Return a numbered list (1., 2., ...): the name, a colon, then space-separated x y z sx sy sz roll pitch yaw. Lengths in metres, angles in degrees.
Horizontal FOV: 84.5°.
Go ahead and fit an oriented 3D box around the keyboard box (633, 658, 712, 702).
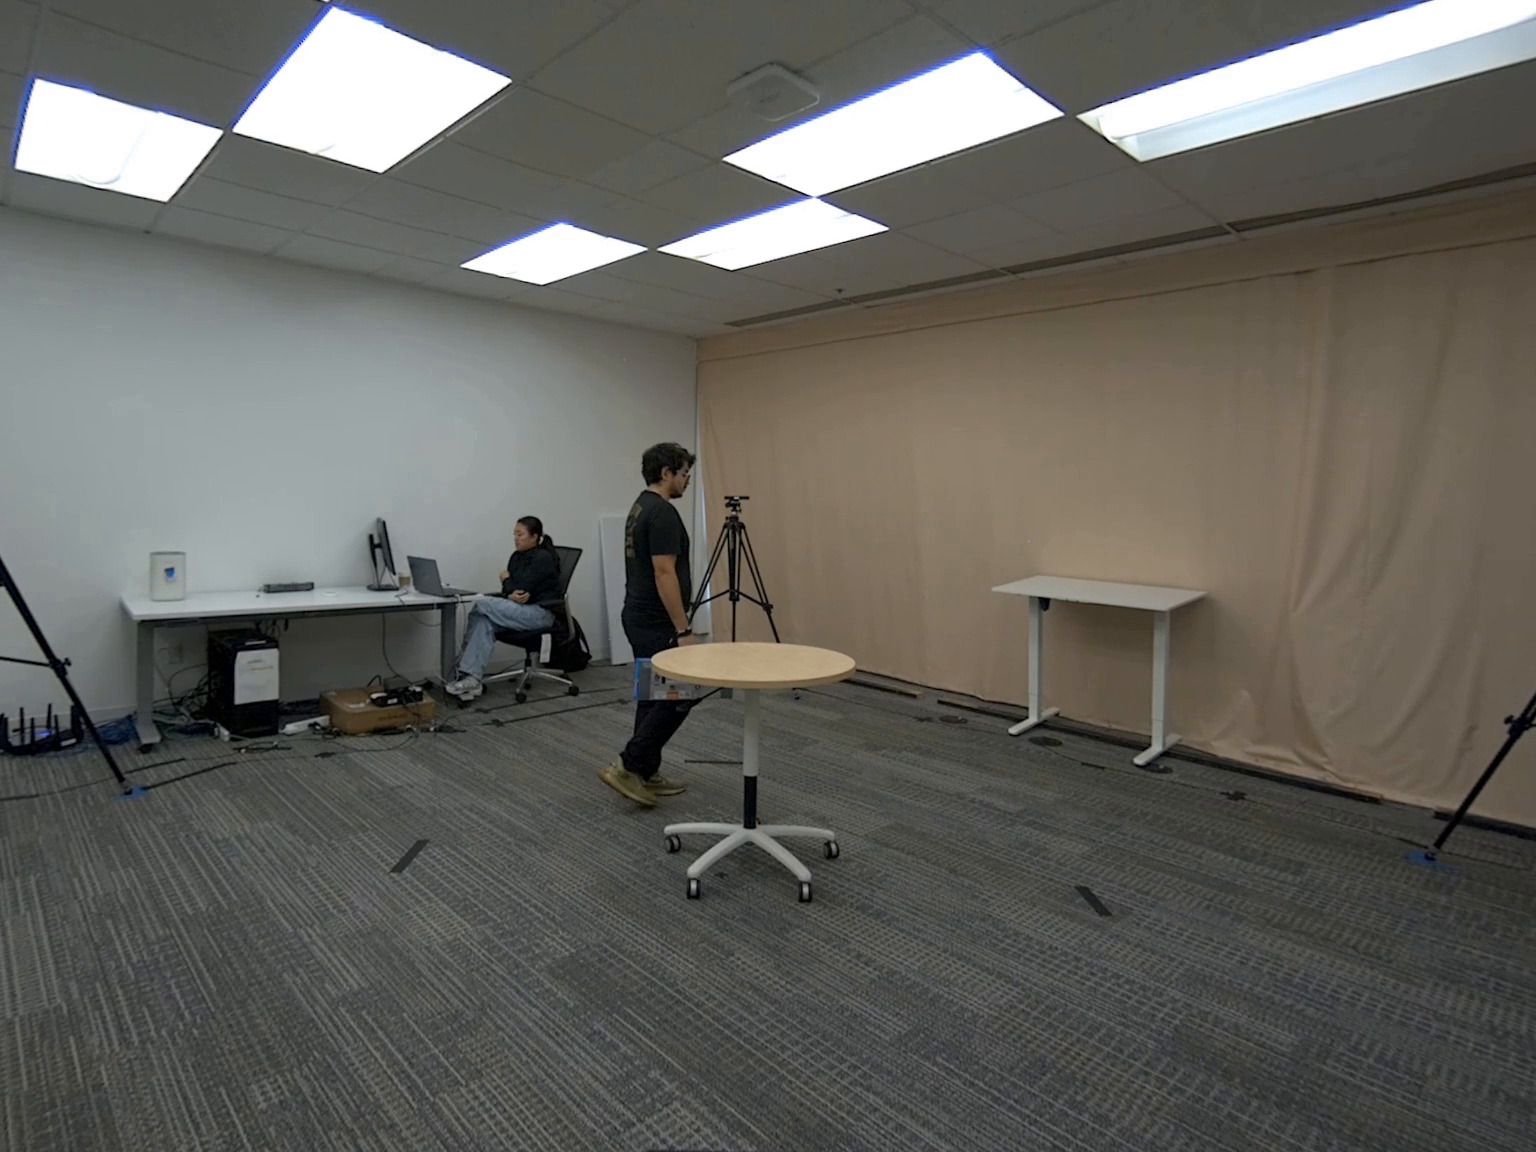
1. keyboard box: -0.372 0.448 3.656 0.429 0.176 0.060 2 3 -24
